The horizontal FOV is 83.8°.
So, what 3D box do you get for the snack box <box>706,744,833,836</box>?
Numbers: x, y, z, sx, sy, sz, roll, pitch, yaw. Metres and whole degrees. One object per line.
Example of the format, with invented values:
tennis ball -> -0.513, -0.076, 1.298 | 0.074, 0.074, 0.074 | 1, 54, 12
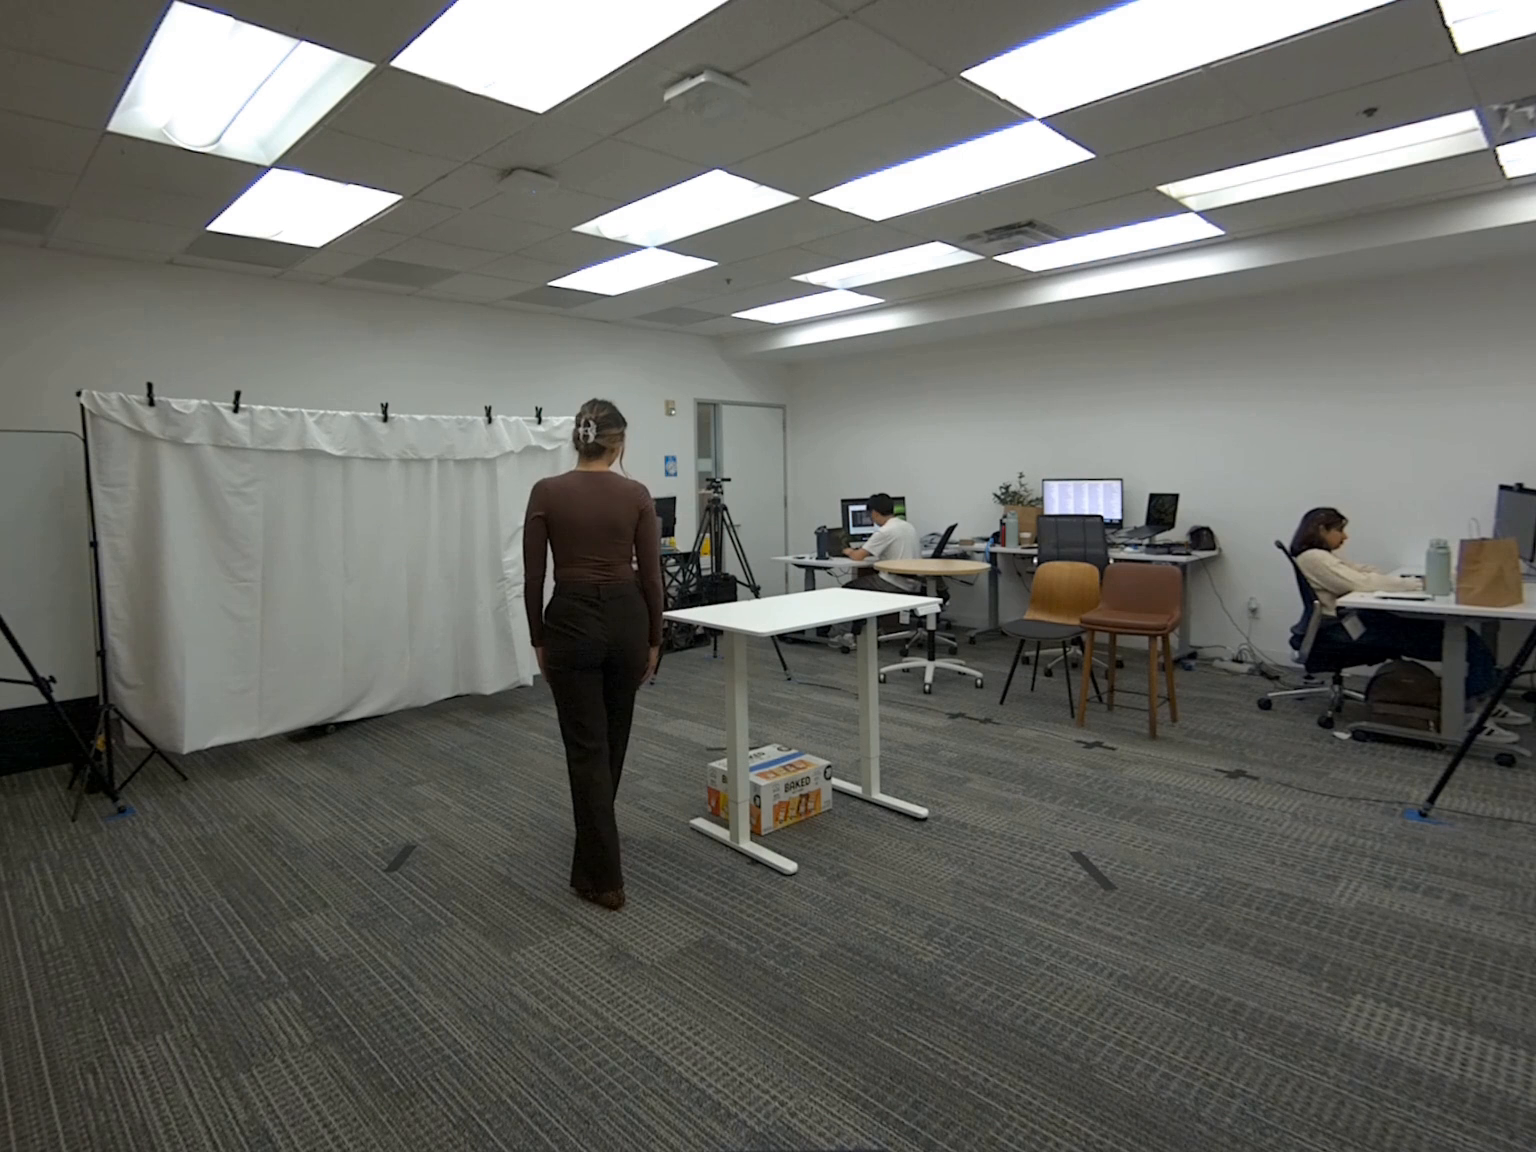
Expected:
snack box -> 0.006, 0.886, 3.586 | 0.394, 0.205, 0.351 | -6, 8, -41
